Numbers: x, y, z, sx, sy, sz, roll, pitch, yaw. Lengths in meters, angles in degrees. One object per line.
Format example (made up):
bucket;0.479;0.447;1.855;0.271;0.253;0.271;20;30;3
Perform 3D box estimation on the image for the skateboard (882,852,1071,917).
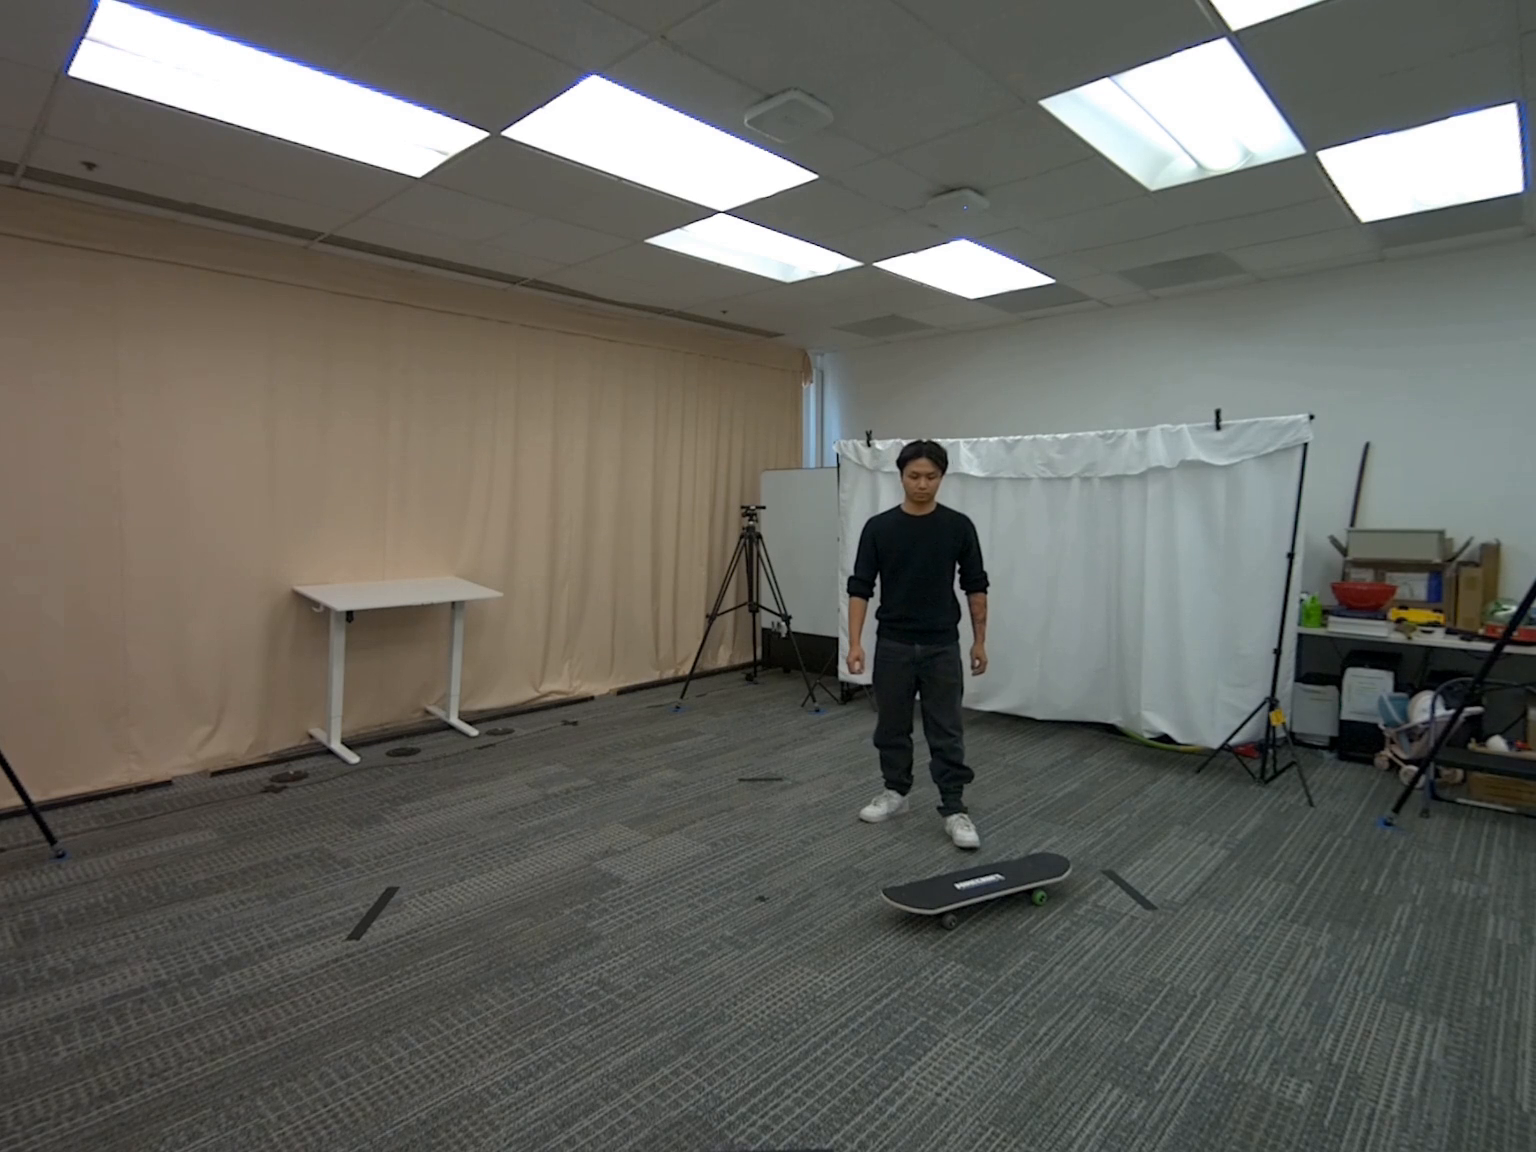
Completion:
skateboard;0.732;1.090;2.911;0.767;0.110;0.198;-2;4;-25
